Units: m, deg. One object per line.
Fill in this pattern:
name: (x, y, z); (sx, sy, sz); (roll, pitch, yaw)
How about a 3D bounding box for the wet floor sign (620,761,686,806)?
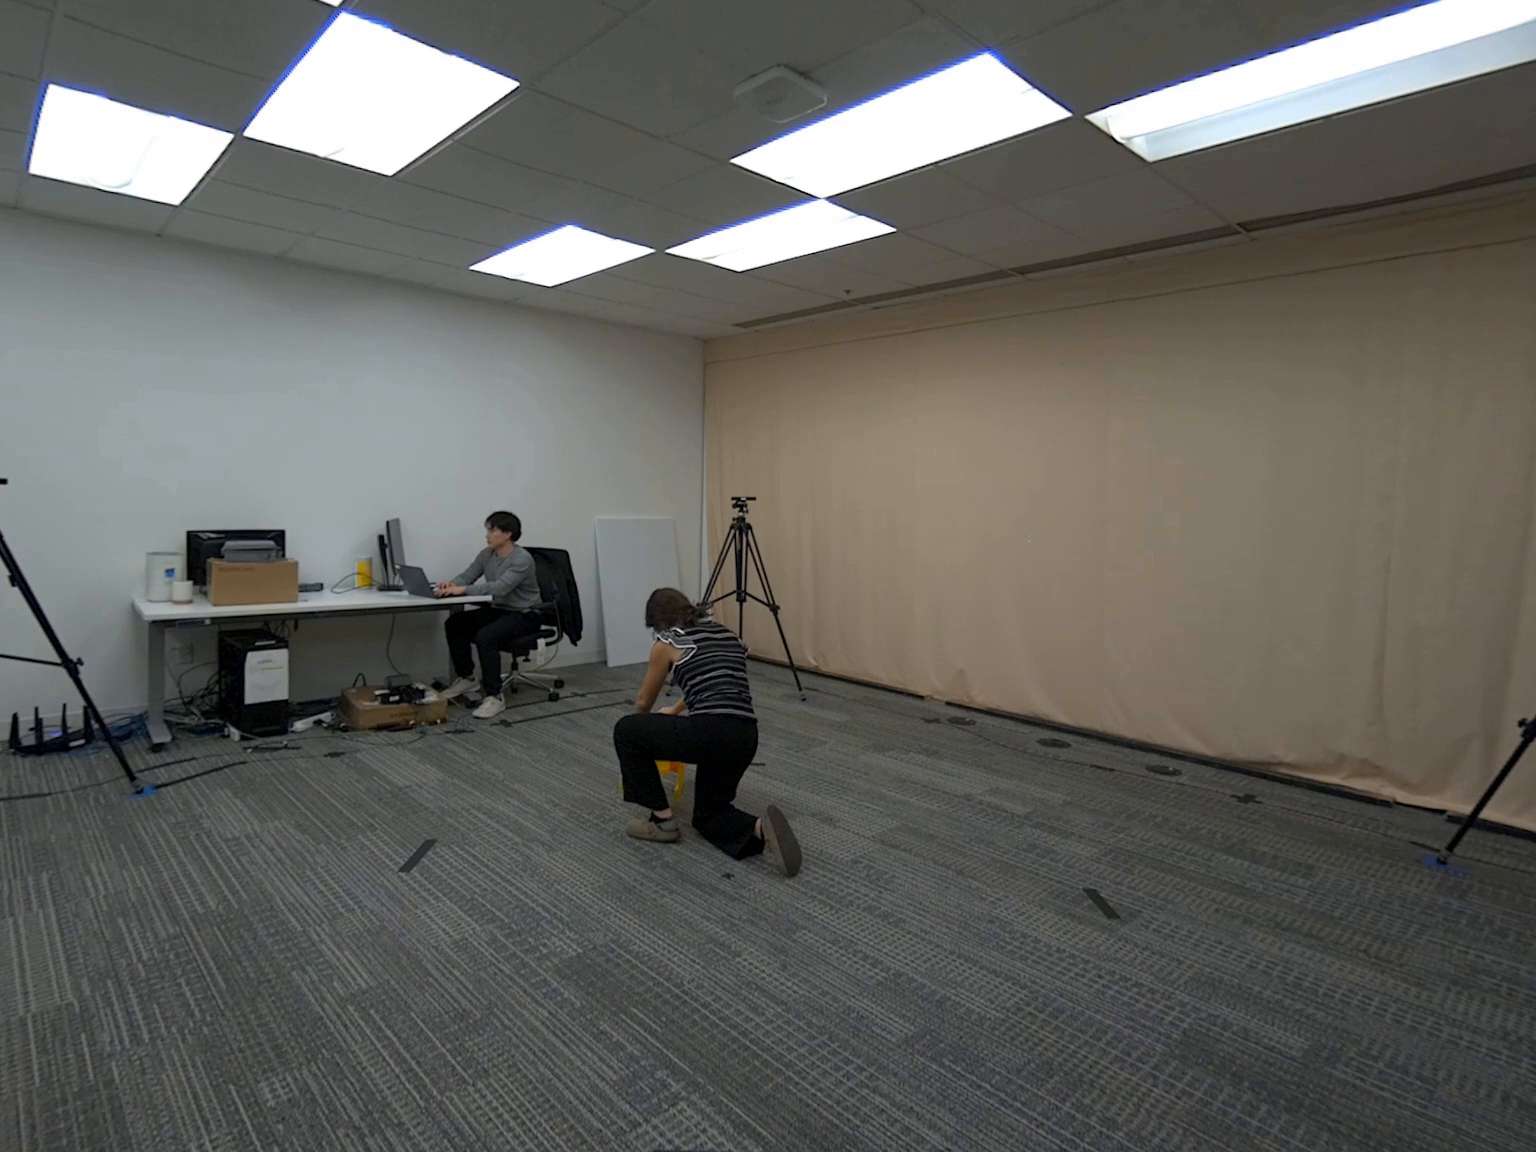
wet floor sign: (-0.452, 0.827, 3.898); (0.293, 0.282, 0.638); (9, -1, 10)
